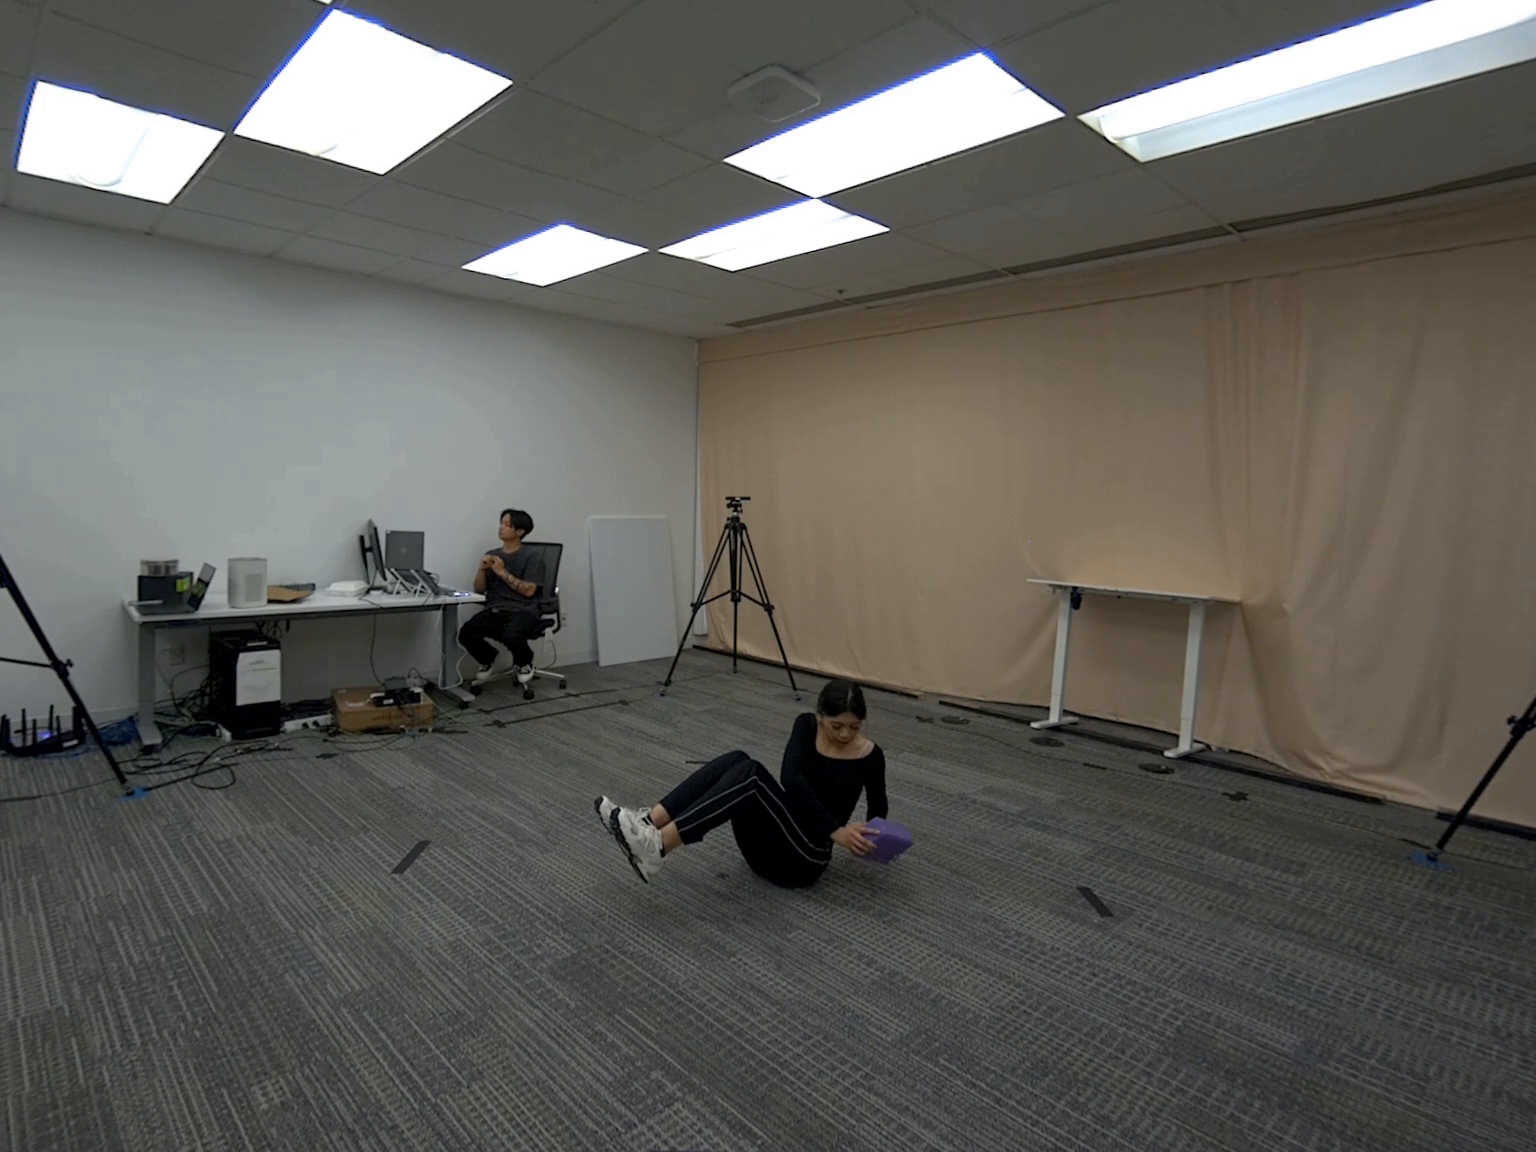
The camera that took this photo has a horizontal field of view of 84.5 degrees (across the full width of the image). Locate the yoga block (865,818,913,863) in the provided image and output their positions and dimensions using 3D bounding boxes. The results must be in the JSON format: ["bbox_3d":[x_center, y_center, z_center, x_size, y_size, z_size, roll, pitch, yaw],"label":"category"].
[{"bbox_3d":[0.384,0.937,2.986,0.149,0.078,0.222,-38,-44,21],"label":"yoga block"}]
